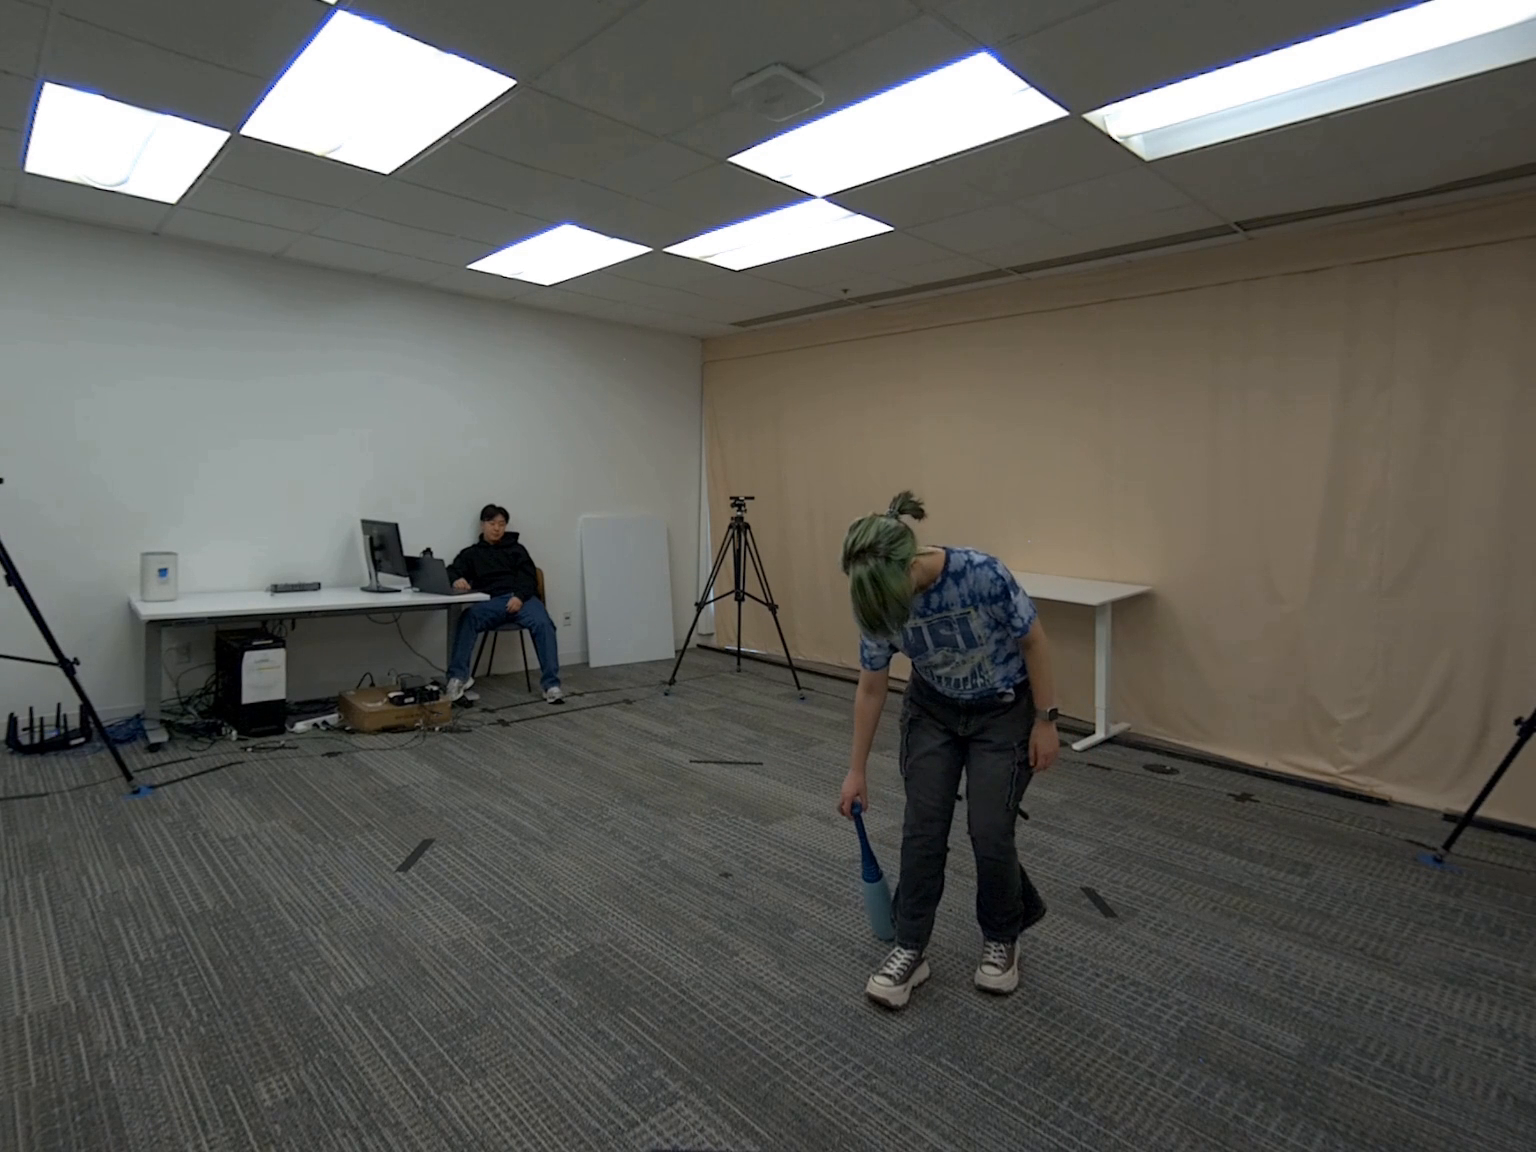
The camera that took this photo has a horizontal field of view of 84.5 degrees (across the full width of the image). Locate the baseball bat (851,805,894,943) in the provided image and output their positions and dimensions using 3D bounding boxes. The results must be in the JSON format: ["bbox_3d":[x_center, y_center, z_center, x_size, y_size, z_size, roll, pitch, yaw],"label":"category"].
[{"bbox_3d":[0.326,0.904,2.599,0.089,0.533,0.090,-10,23,3],"label":"baseball bat"}]
